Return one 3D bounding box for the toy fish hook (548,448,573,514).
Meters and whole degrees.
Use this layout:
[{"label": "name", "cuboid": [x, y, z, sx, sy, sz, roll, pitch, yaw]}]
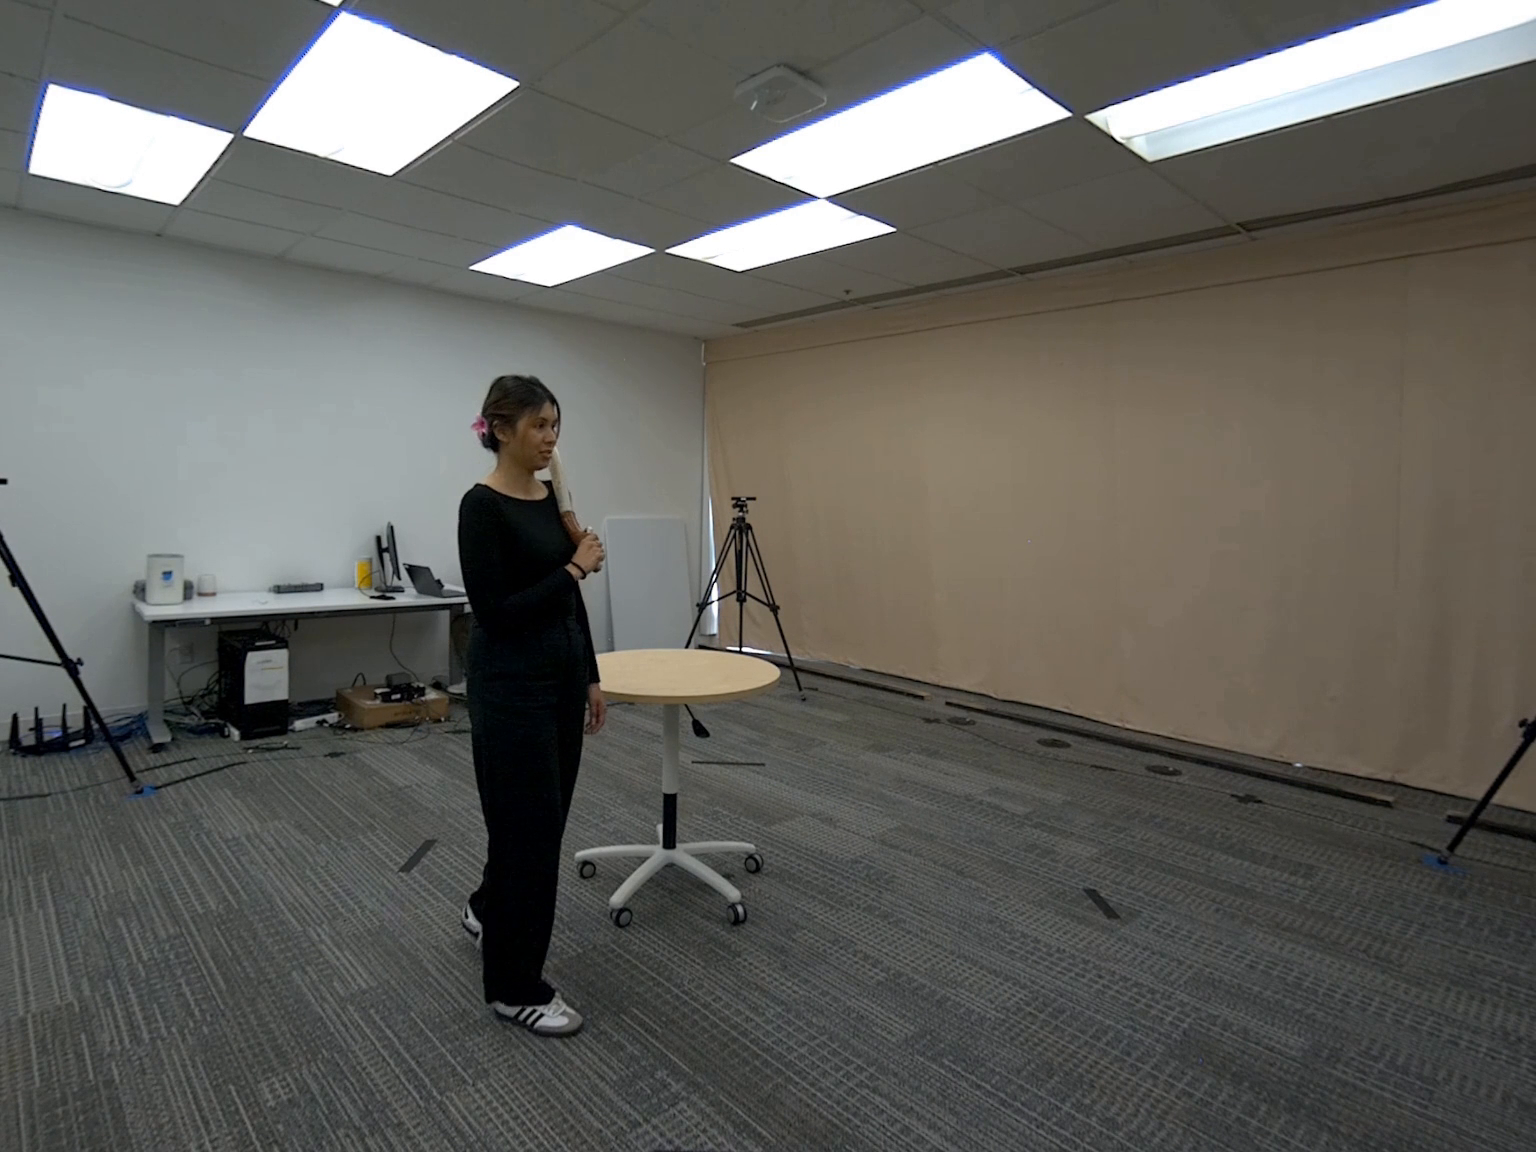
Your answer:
[{"label": "toy fish hook", "cuboid": [-0.632, -0.181, 2.360, 0.225, 0.518, 0.047, -41, -25, 23]}]
